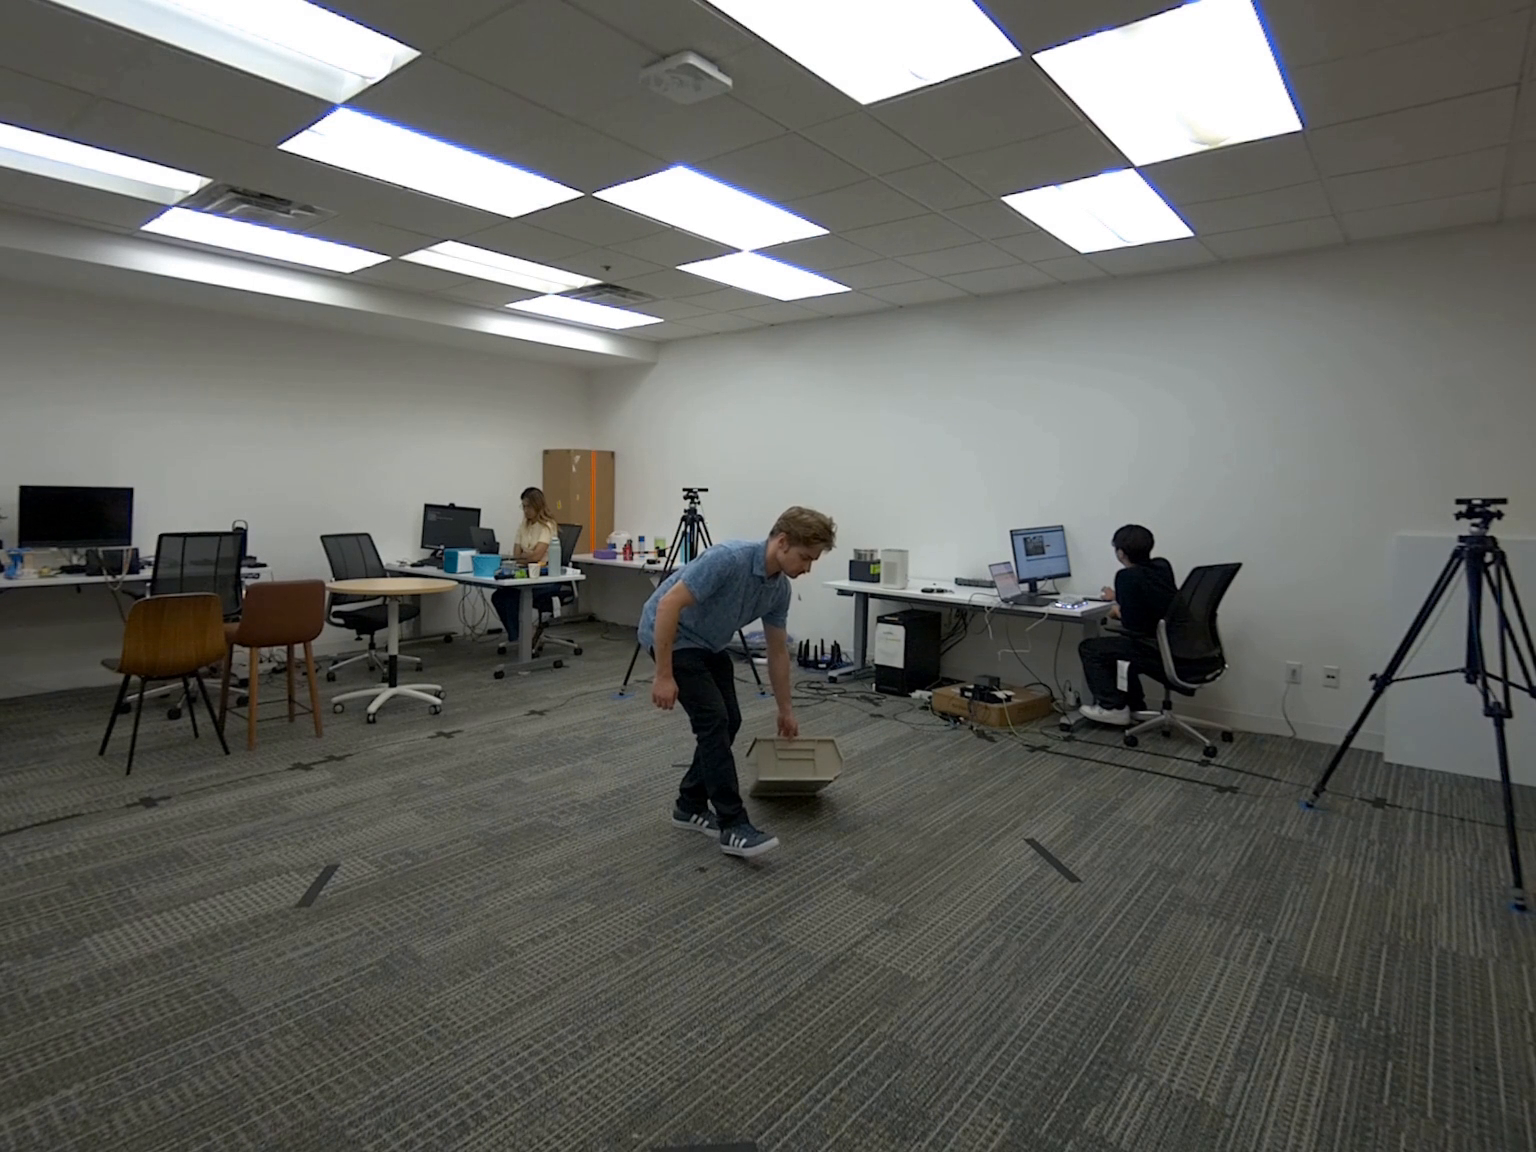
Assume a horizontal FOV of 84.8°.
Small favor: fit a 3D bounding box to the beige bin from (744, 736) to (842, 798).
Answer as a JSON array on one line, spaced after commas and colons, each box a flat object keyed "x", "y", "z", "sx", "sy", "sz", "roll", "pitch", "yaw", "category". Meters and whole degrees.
[{"x": 0.088, "y": 0.821, "z": 3.734, "sx": 0.376, "sy": 0.193, "sz": 0.415, "roll": -1, "pitch": -20, "yaw": -4, "category": "beige bin"}]
